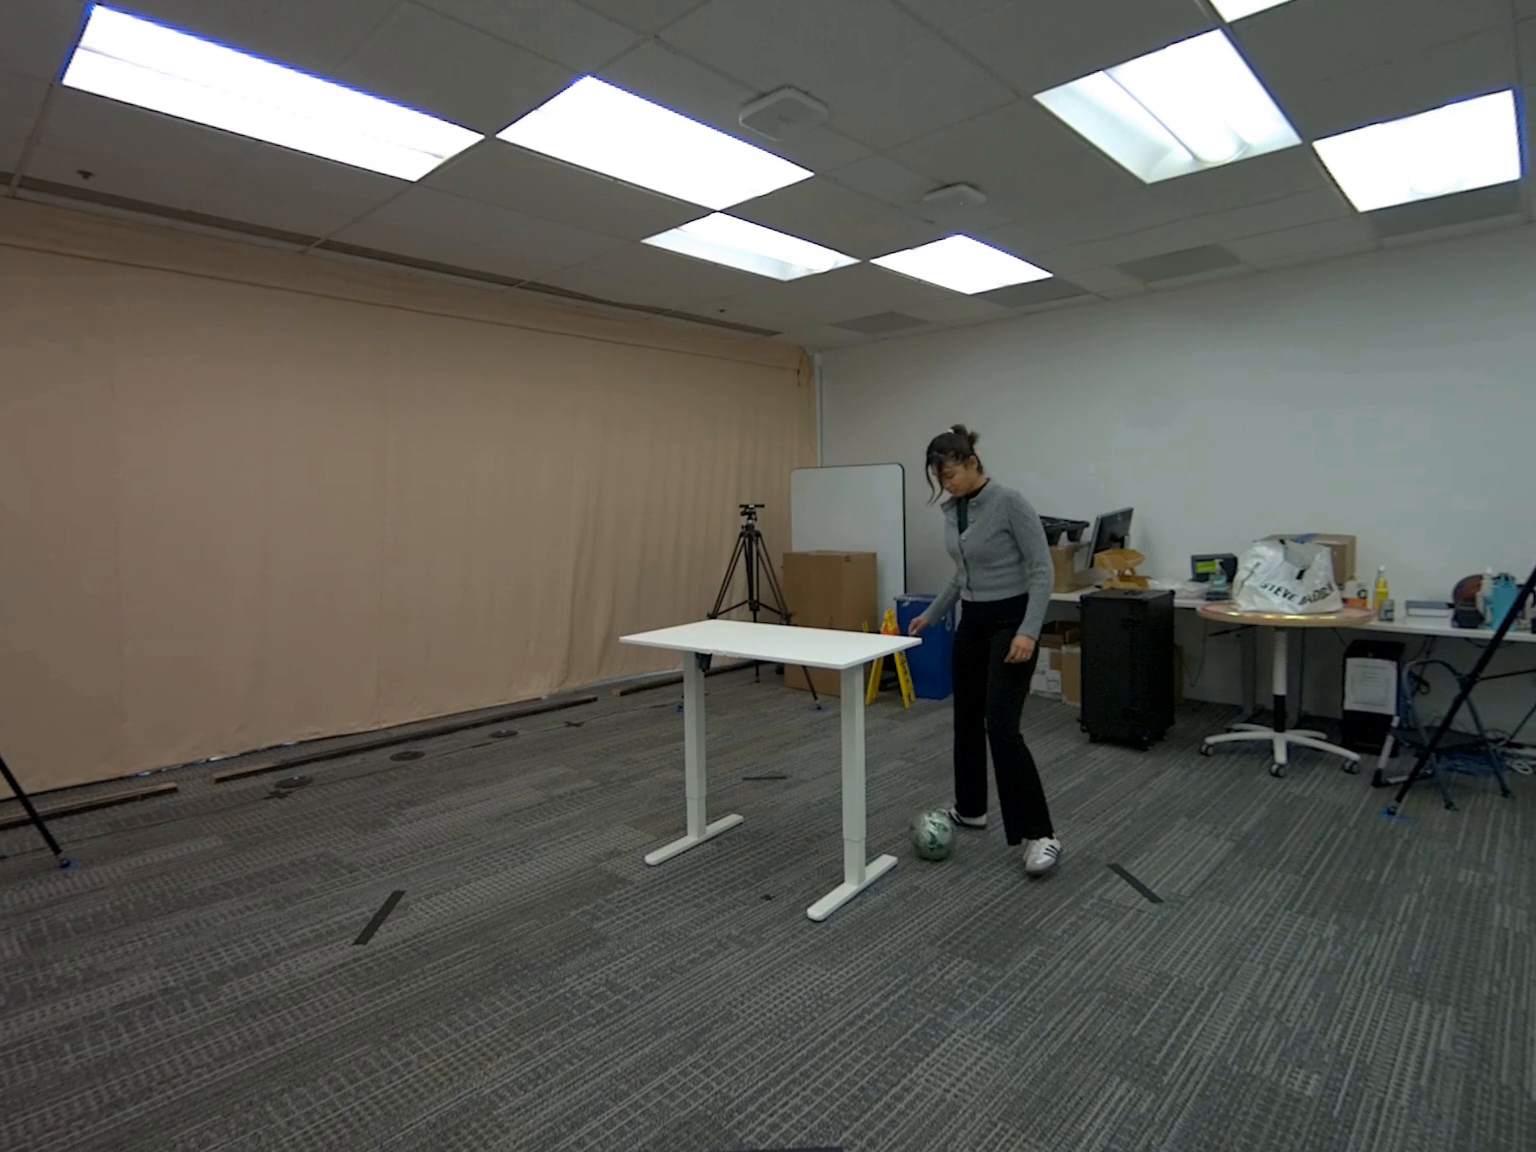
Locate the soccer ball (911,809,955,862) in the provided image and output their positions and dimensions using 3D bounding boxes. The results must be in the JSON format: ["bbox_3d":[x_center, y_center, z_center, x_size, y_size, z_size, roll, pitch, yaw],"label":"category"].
[{"bbox_3d":[0.643,1.010,3.299,0.187,0.187,0.188,-1,4,-2],"label":"soccer ball"}]
